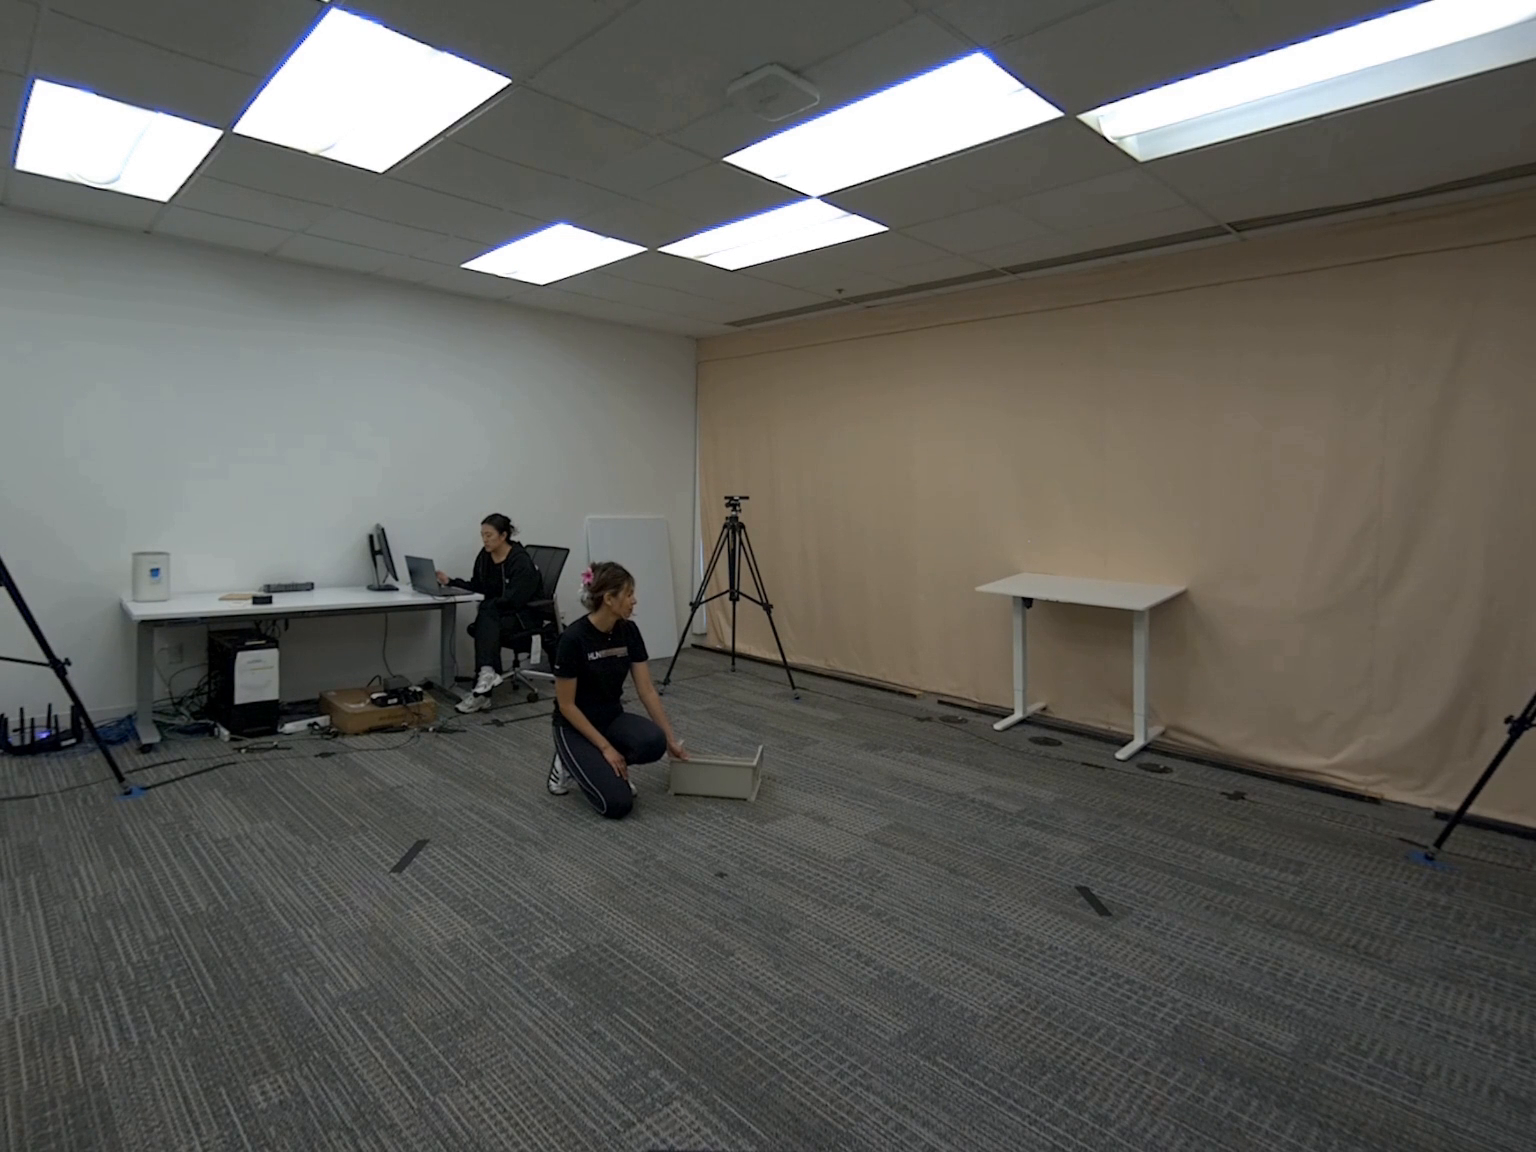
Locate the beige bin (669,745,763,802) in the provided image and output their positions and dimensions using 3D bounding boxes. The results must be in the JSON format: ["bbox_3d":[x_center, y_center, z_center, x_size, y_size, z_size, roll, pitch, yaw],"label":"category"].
[{"bbox_3d":[-0.259,0.928,4.086,0.425,0.188,0.376,2,6,6],"label":"beige bin"}]
